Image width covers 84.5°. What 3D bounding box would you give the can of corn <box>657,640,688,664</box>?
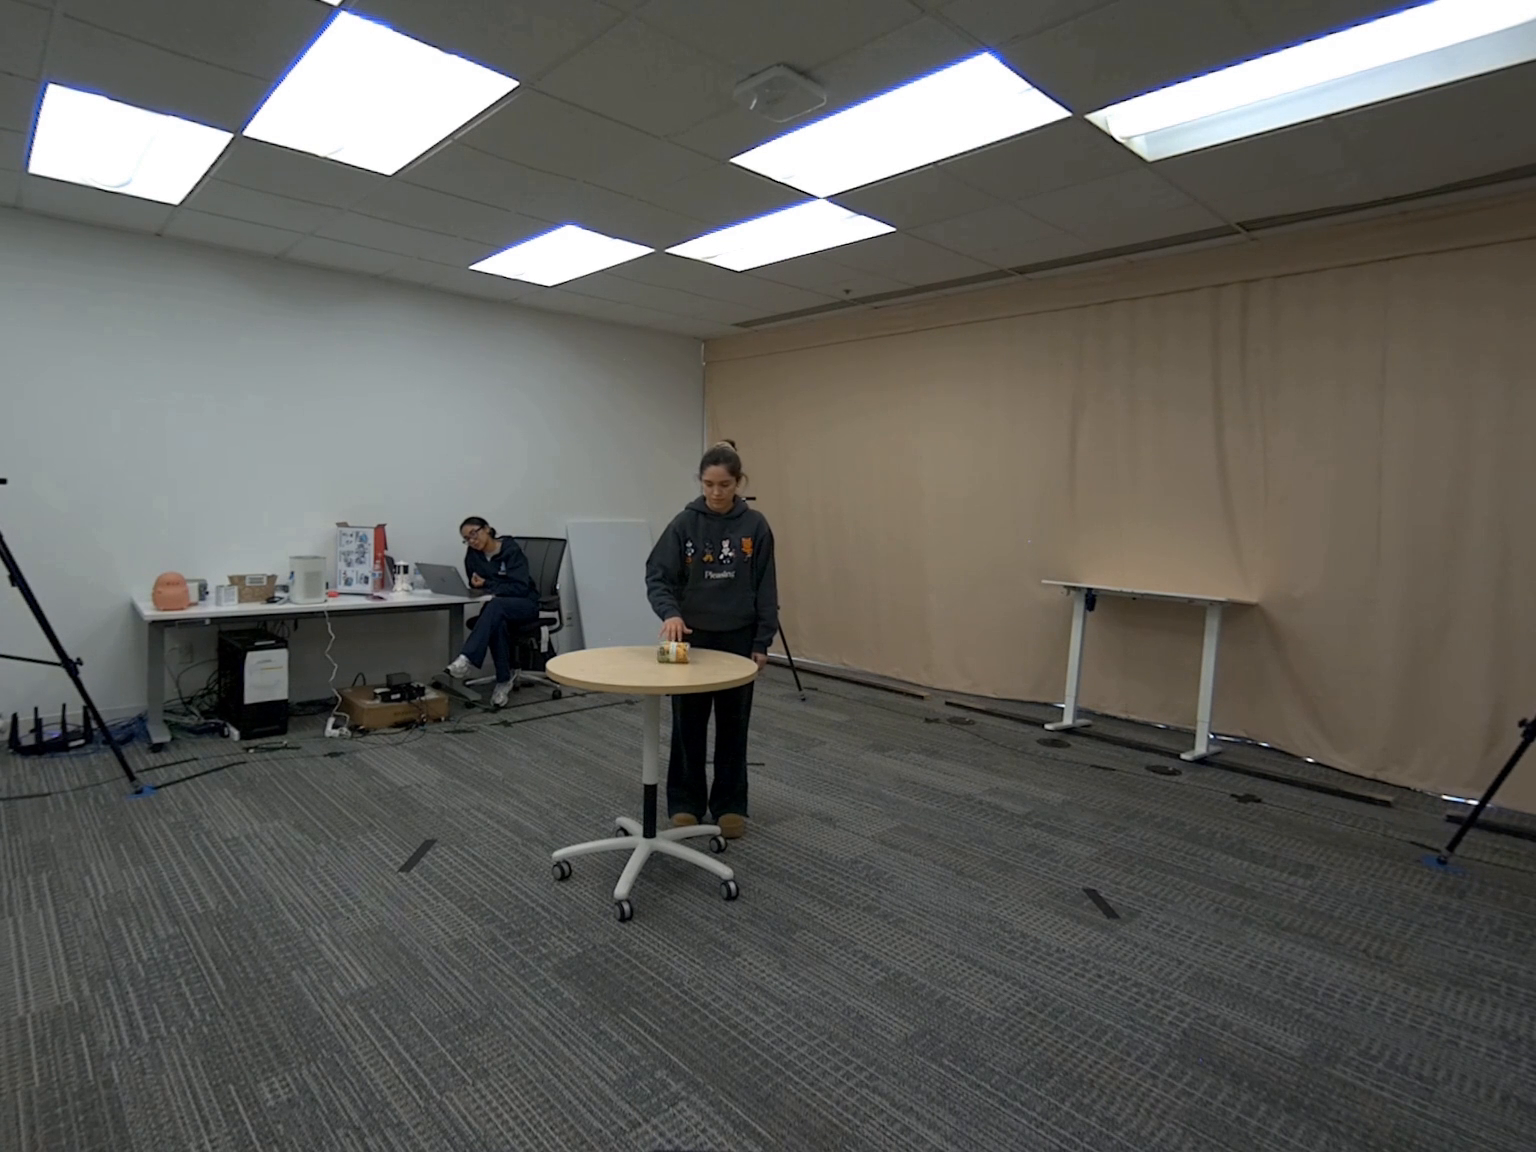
[{"bbox_3d":[-0.362,0.281,3.111,0.111,0.074,0.074,3,5,3],"label":"can of corn"}]
